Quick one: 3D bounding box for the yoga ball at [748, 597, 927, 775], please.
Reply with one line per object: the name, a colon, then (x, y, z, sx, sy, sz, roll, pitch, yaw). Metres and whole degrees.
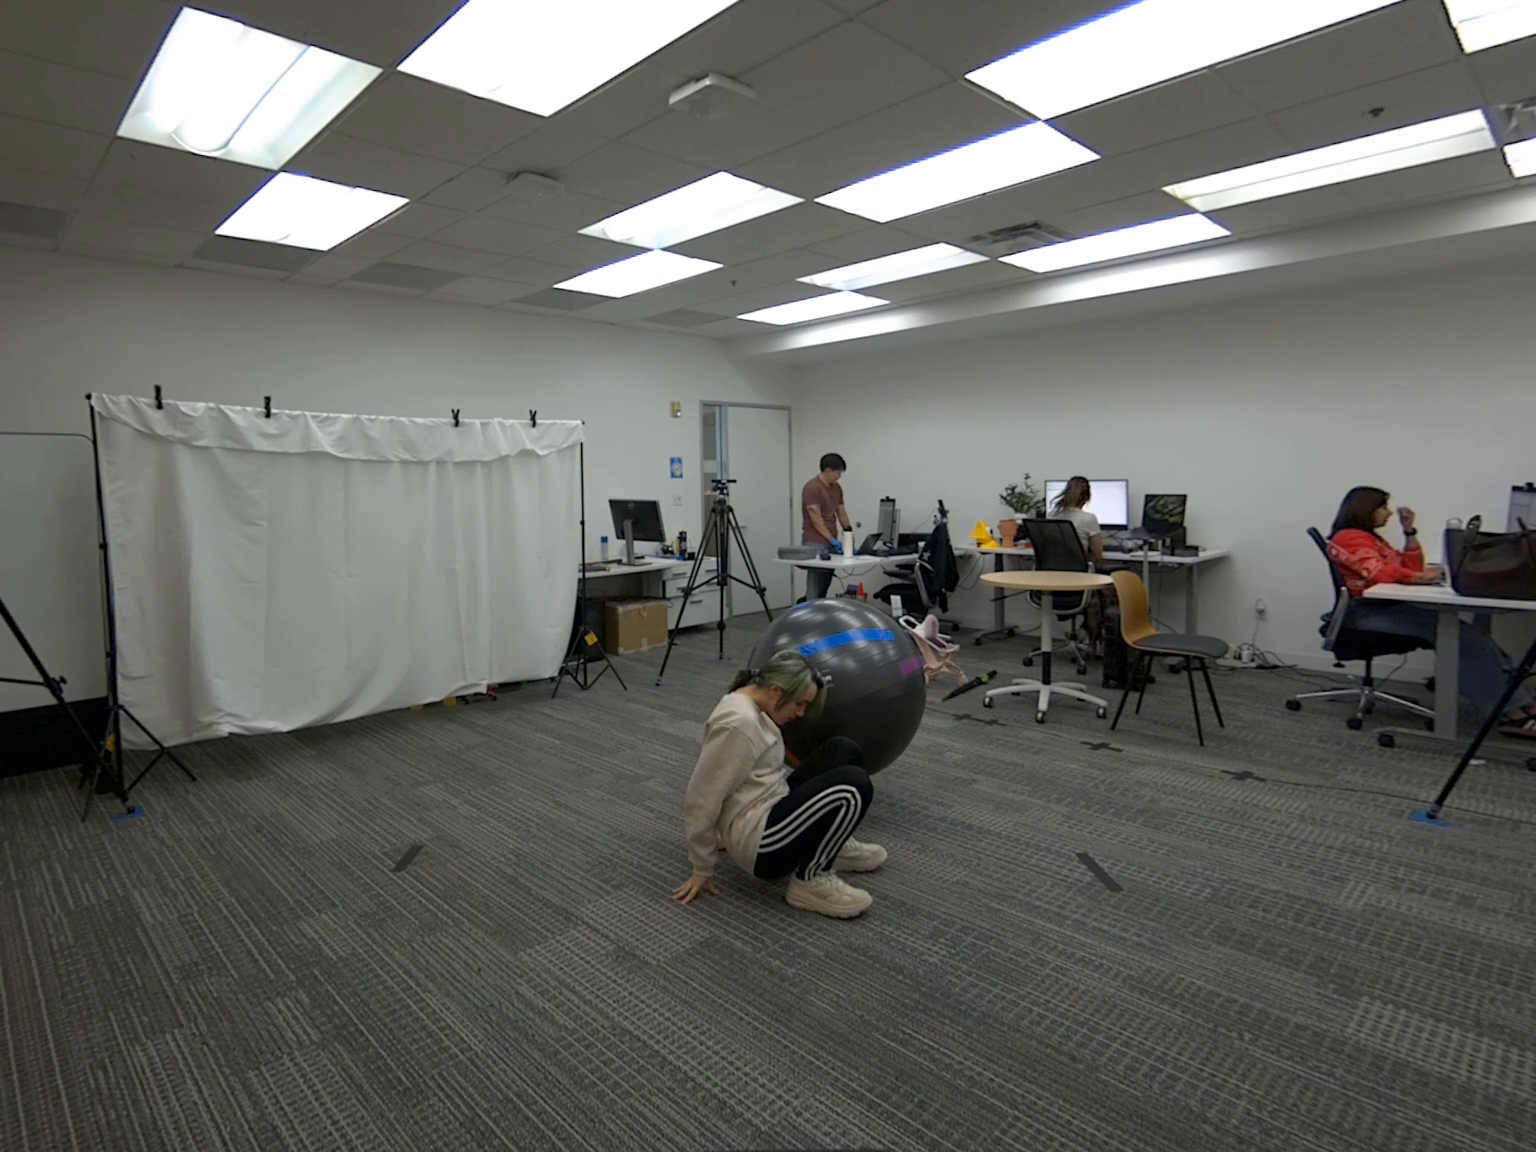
yoga ball: (0.283, 0.478, 3.613, 0.757, 0.755, 0.762, -1, 5, -2)
